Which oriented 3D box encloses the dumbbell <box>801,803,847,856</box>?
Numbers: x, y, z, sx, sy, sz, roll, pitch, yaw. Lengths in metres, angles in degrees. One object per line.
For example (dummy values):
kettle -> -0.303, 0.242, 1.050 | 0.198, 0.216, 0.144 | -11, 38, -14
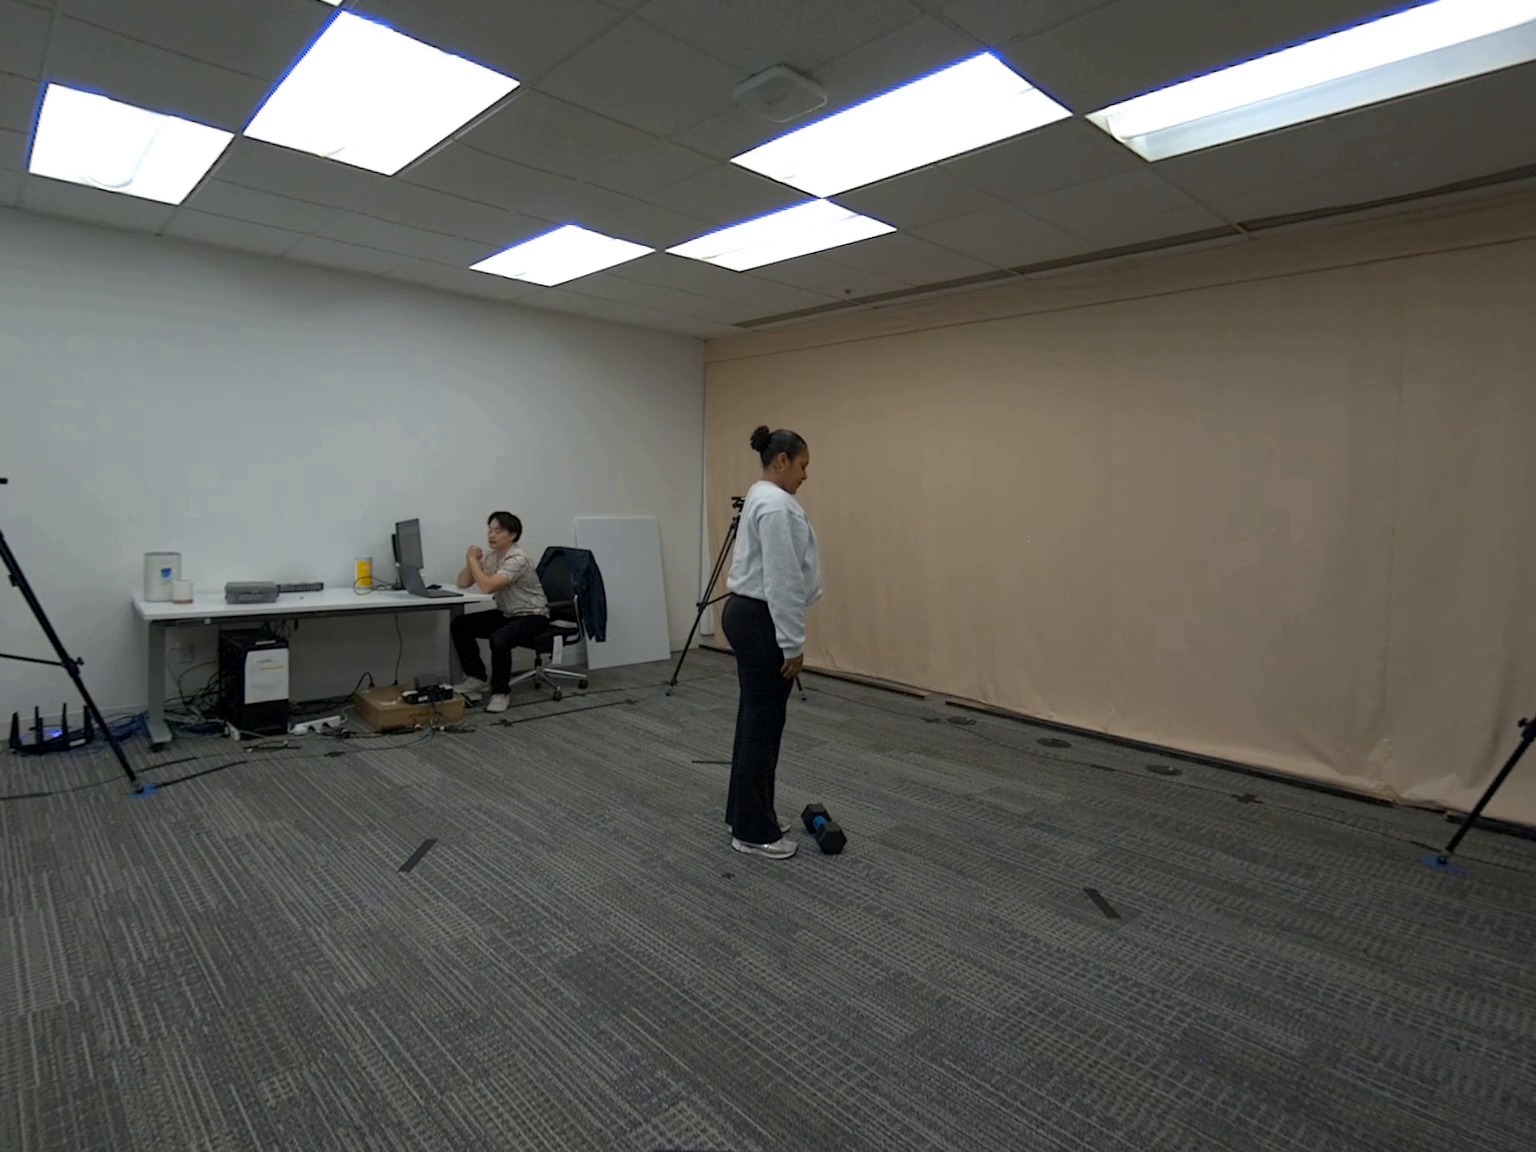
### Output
dumbbell -> 0.214, 1.028, 3.445 | 0.122, 0.108, 0.297 | 2, 5, -11
